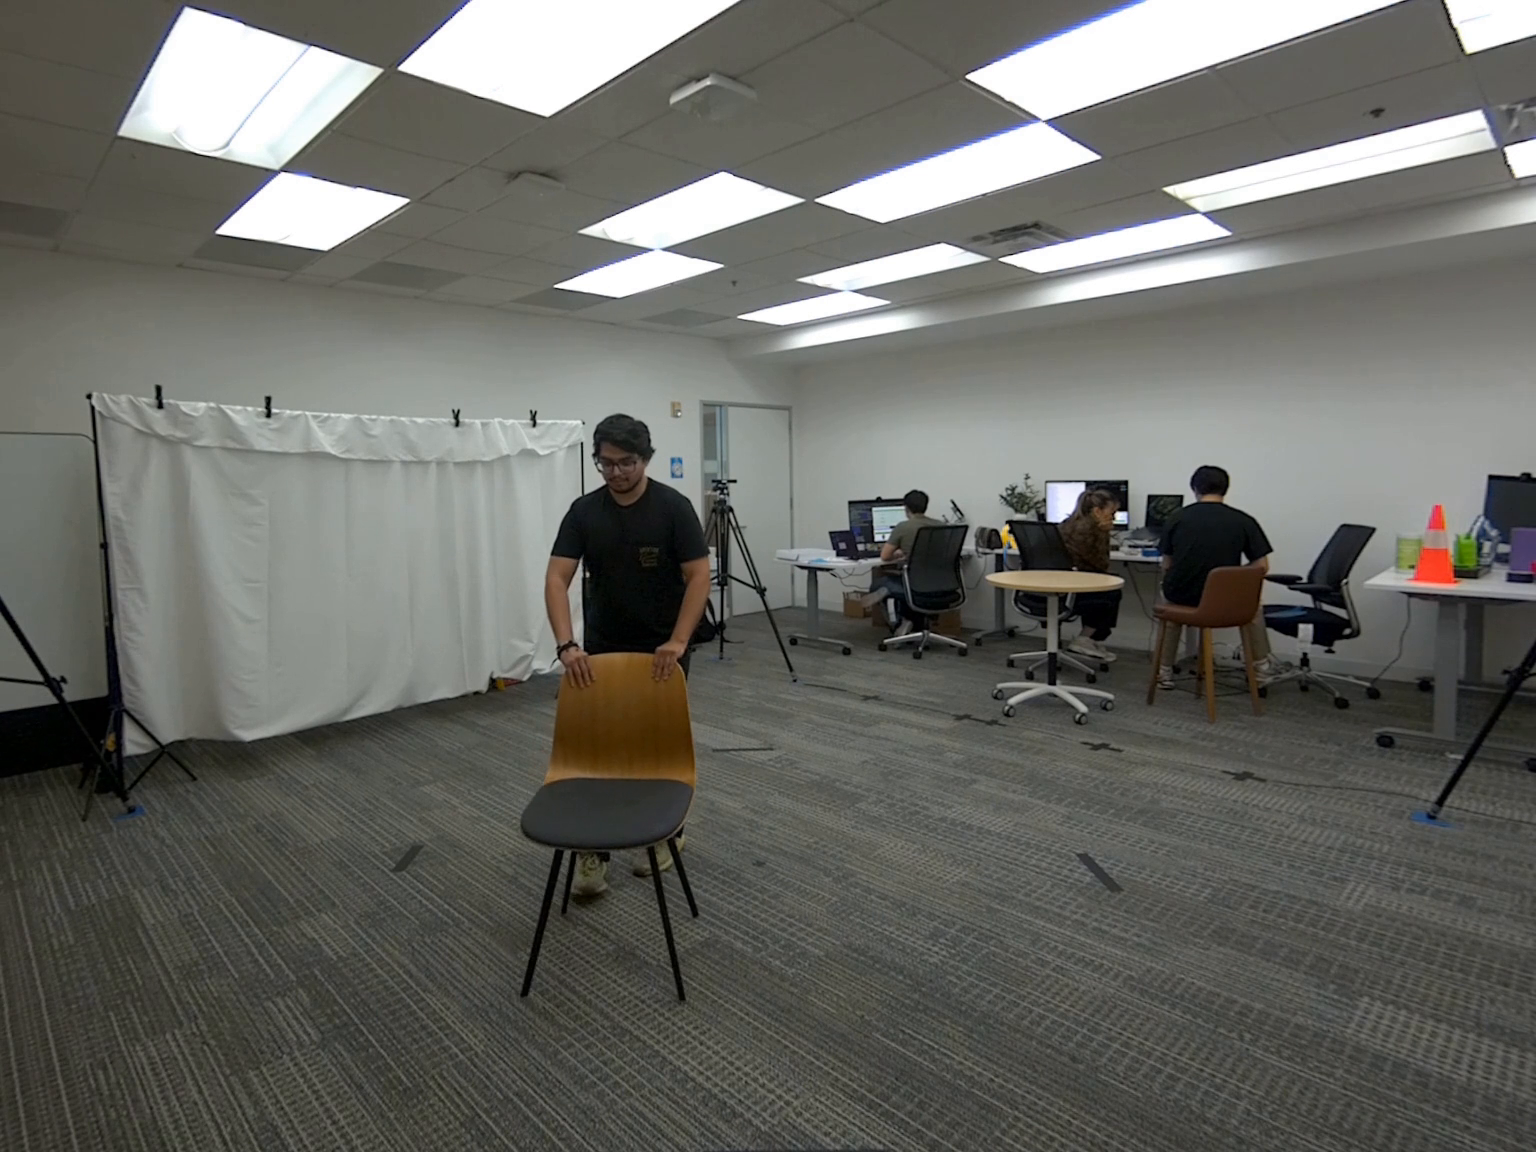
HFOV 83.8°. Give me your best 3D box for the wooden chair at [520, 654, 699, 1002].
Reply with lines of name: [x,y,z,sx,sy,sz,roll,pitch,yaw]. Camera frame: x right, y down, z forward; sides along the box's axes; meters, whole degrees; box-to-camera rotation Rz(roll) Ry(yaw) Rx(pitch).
wooden chair: [-0.450,0.699,2.495,0.480,0.877,0.522,0,0,2]
